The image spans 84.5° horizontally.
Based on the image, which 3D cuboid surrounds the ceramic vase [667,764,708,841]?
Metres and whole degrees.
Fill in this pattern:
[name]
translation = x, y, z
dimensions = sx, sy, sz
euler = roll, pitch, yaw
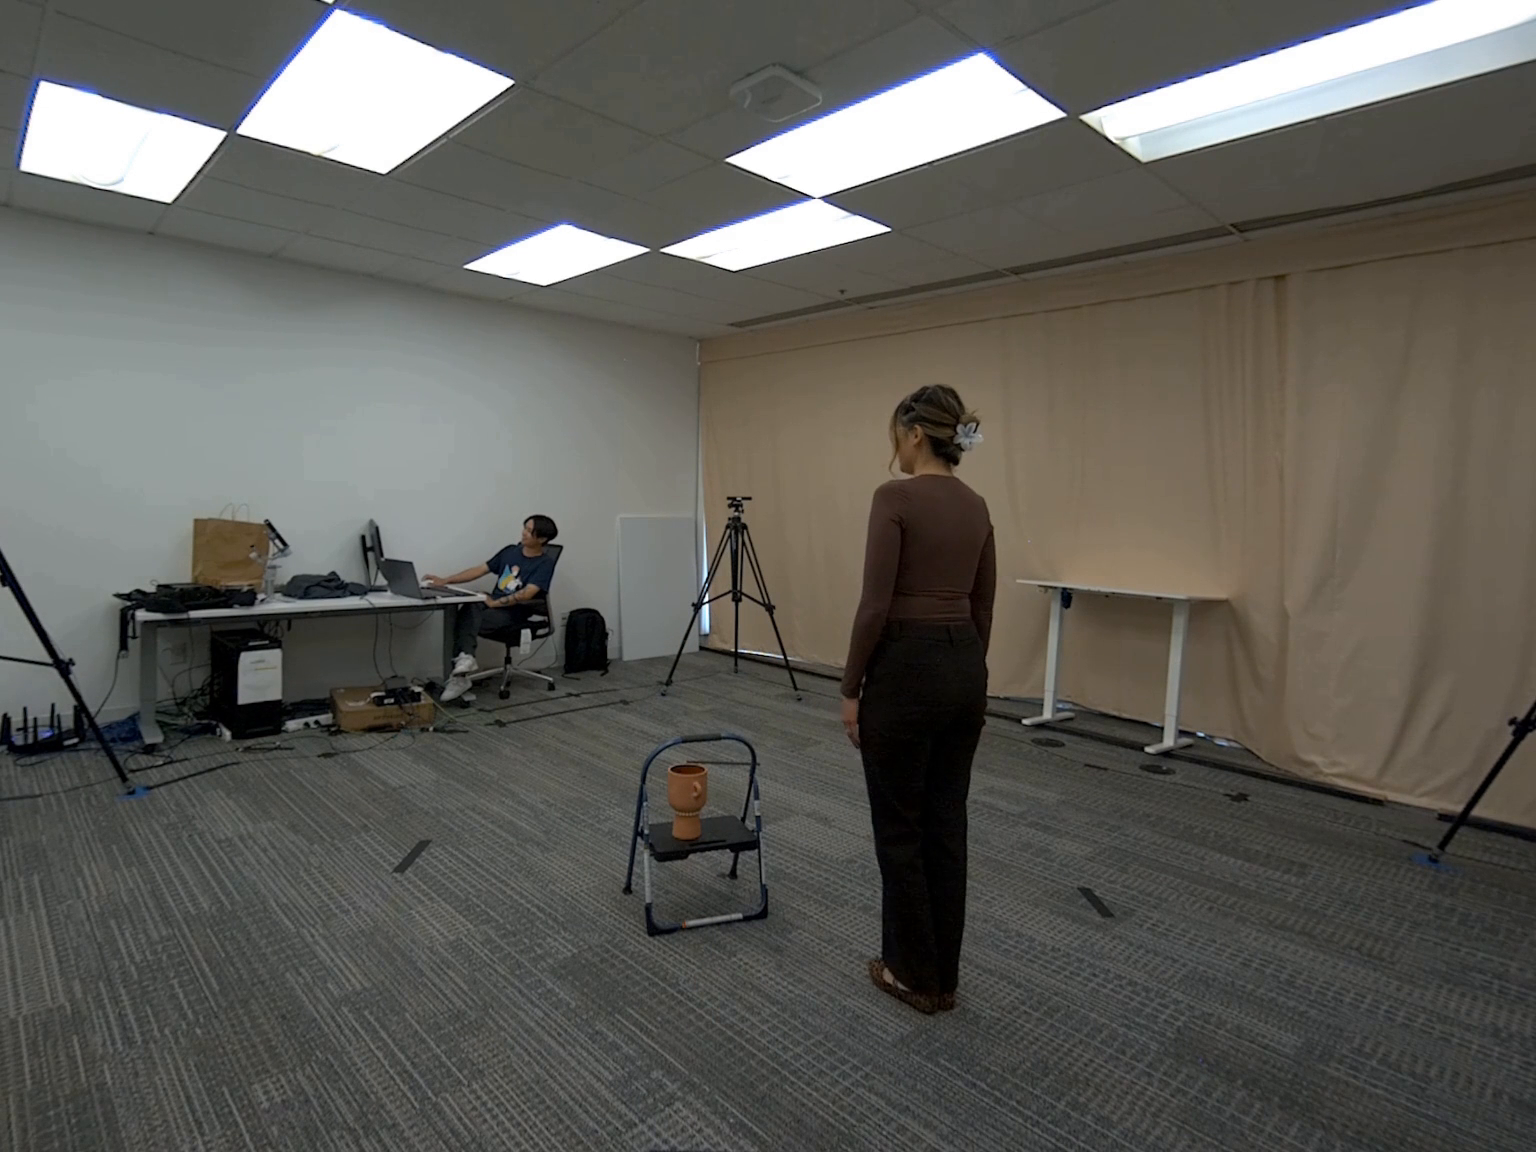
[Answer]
[ceramic vase]
translation = -0.279, 0.755, 2.815
dimensions = 0.136, 0.219, 0.158
euler = 1, 2, 10
